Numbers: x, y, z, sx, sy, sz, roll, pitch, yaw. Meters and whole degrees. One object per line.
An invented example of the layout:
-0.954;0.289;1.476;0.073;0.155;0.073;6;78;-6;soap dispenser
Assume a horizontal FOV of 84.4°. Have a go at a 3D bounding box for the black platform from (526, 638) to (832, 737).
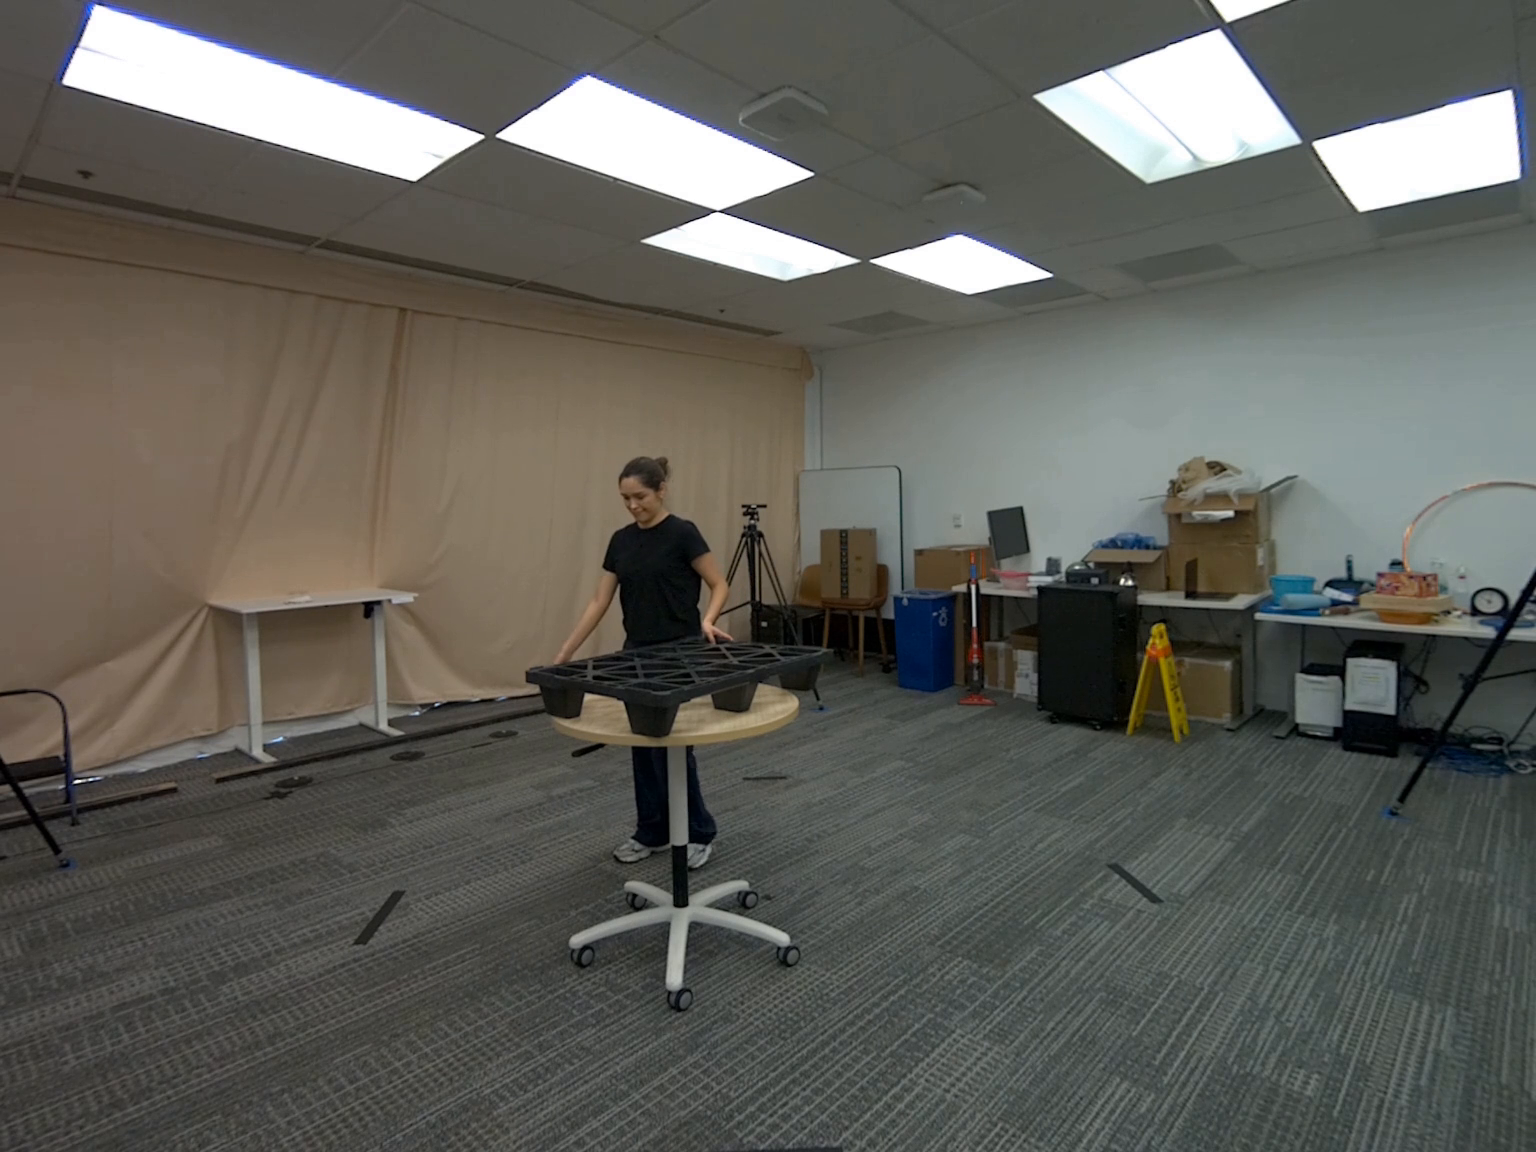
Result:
-0.253;0.325;2.639;0.625;0.143;0.781;2;5;40;black platform
